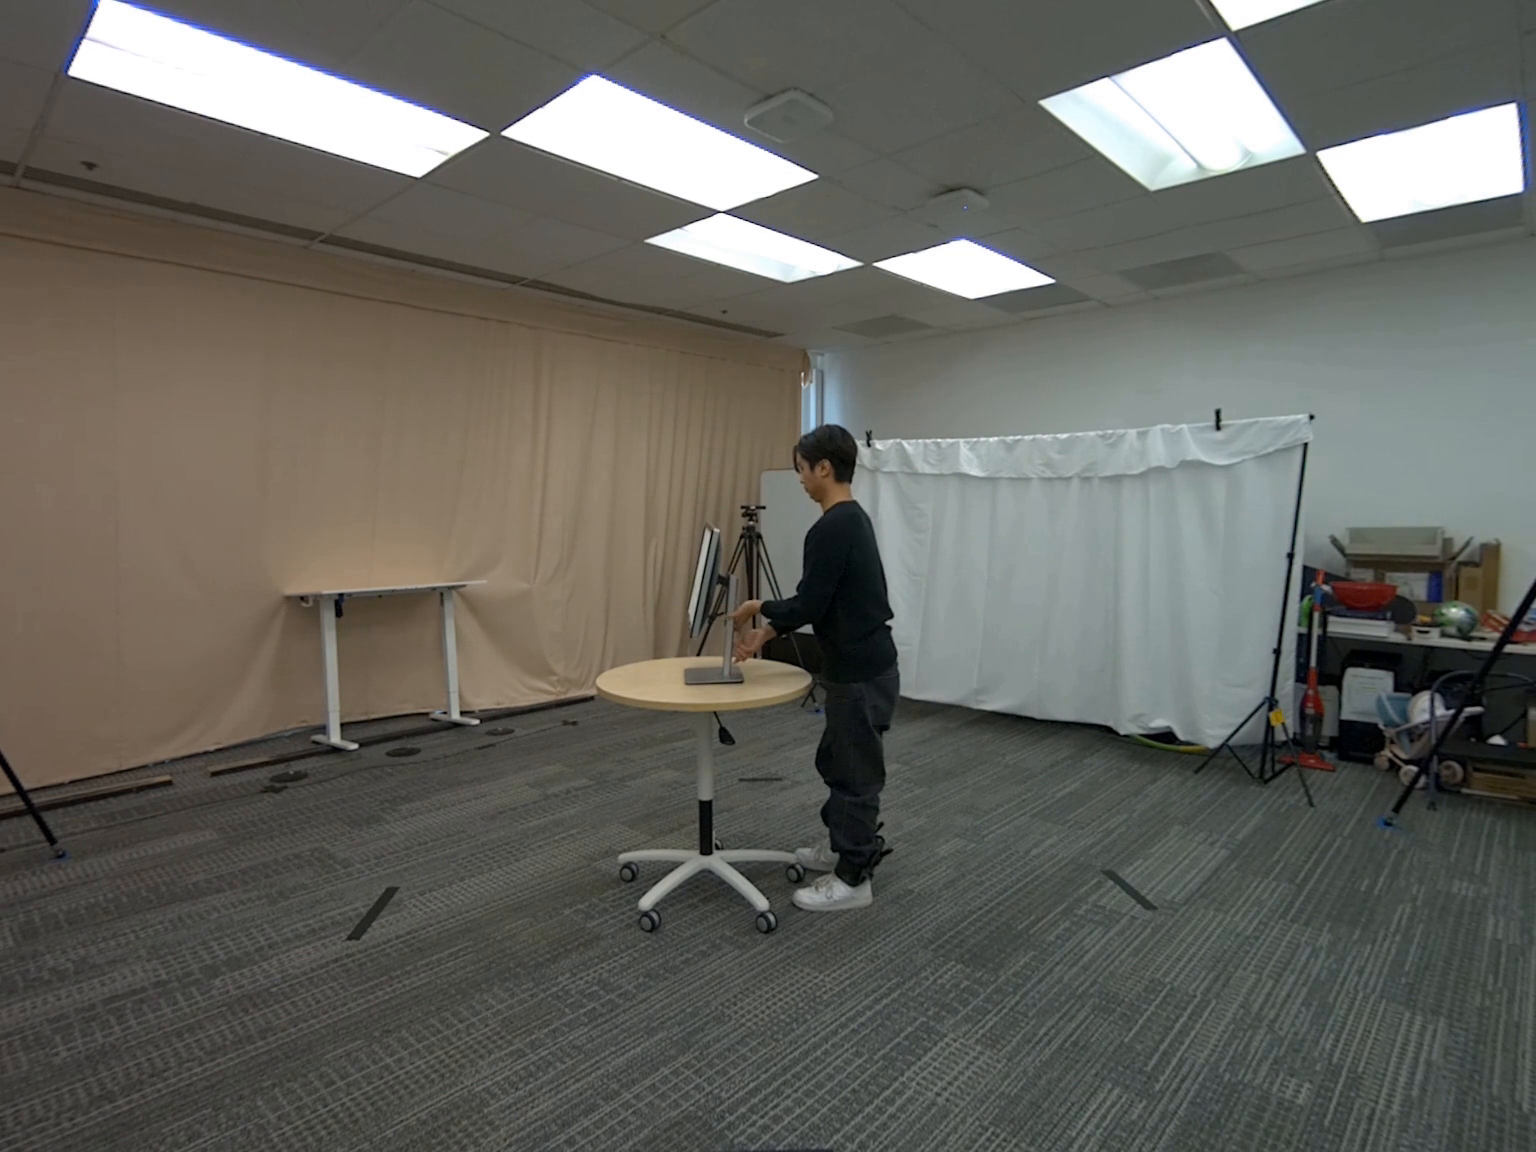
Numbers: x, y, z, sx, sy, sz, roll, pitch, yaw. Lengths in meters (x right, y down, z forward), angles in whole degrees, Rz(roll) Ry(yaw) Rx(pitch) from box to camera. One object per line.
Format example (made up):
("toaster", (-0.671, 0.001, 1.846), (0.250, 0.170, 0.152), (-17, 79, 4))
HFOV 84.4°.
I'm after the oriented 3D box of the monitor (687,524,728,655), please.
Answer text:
("monitor", (-0.187, 0.103, 2.998), (0.186, 0.522, 0.543), (0, 3, -7))
